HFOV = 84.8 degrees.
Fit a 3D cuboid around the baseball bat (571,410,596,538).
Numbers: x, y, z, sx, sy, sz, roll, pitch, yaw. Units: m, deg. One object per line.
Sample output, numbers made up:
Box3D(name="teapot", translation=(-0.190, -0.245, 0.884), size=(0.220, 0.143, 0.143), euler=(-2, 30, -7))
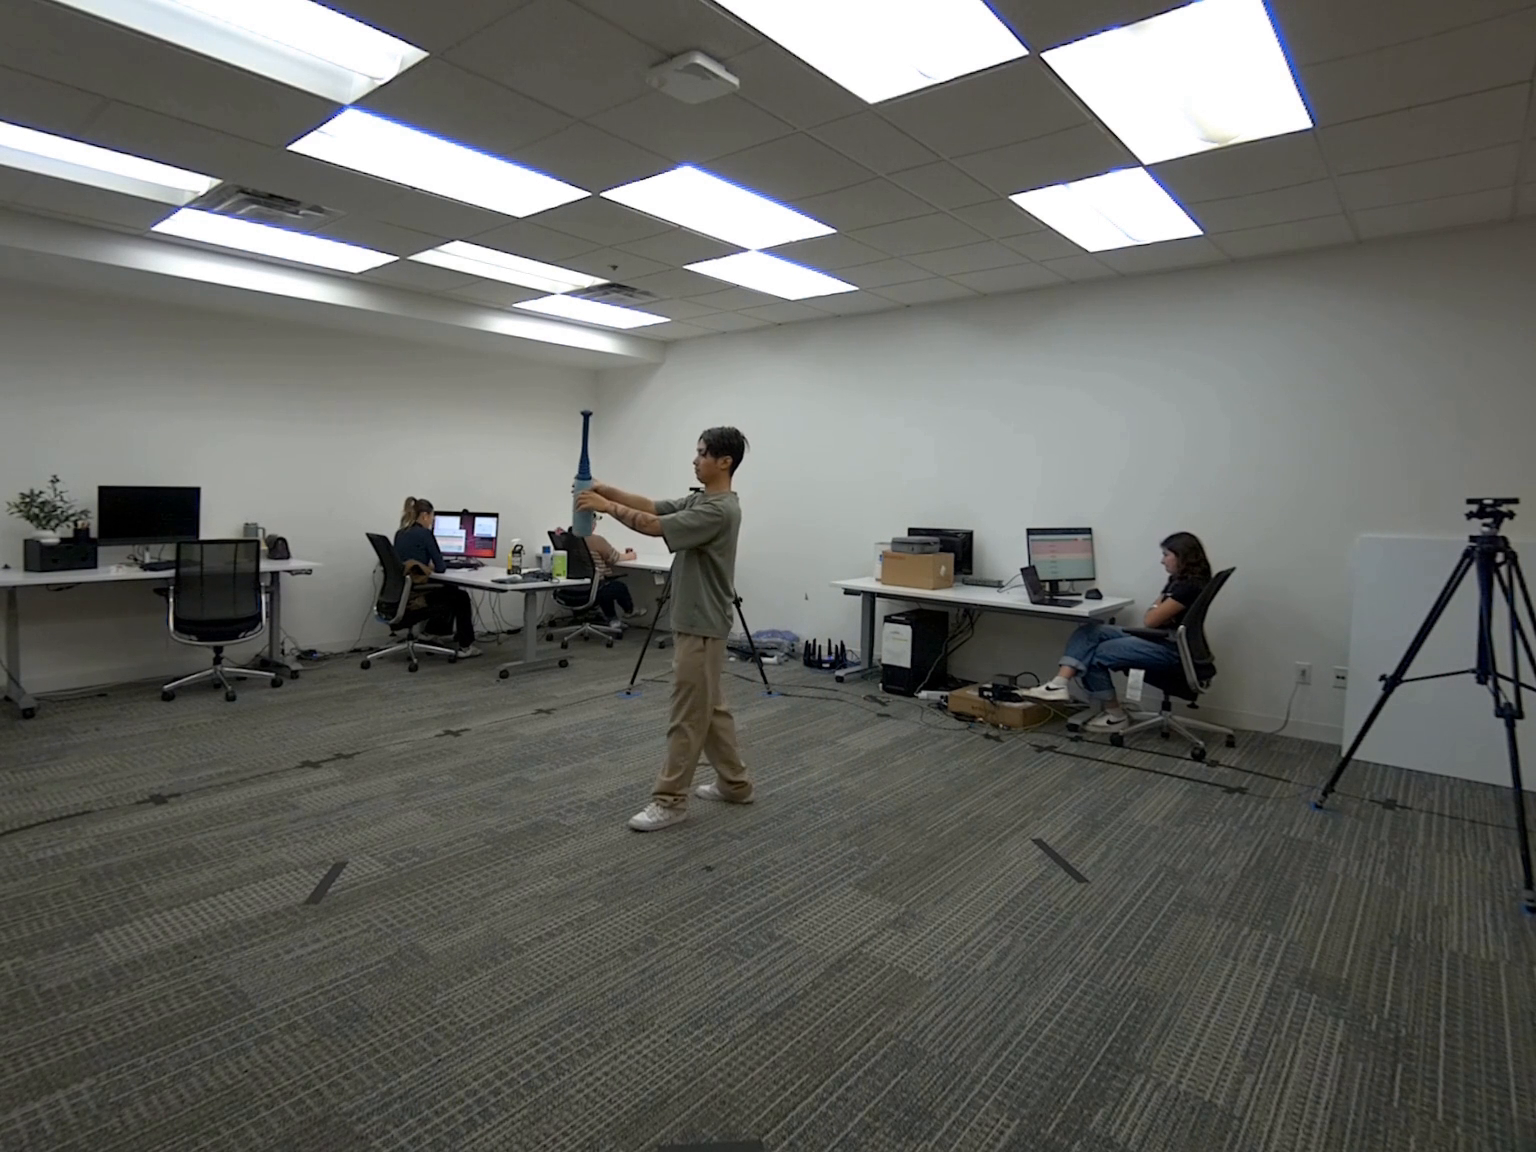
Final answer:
Box3D(name="baseball bat", translation=(-0.789, -0.434, 3.535), size=(0.089, 0.534, 0.091), euler=(5, 19, -4))
